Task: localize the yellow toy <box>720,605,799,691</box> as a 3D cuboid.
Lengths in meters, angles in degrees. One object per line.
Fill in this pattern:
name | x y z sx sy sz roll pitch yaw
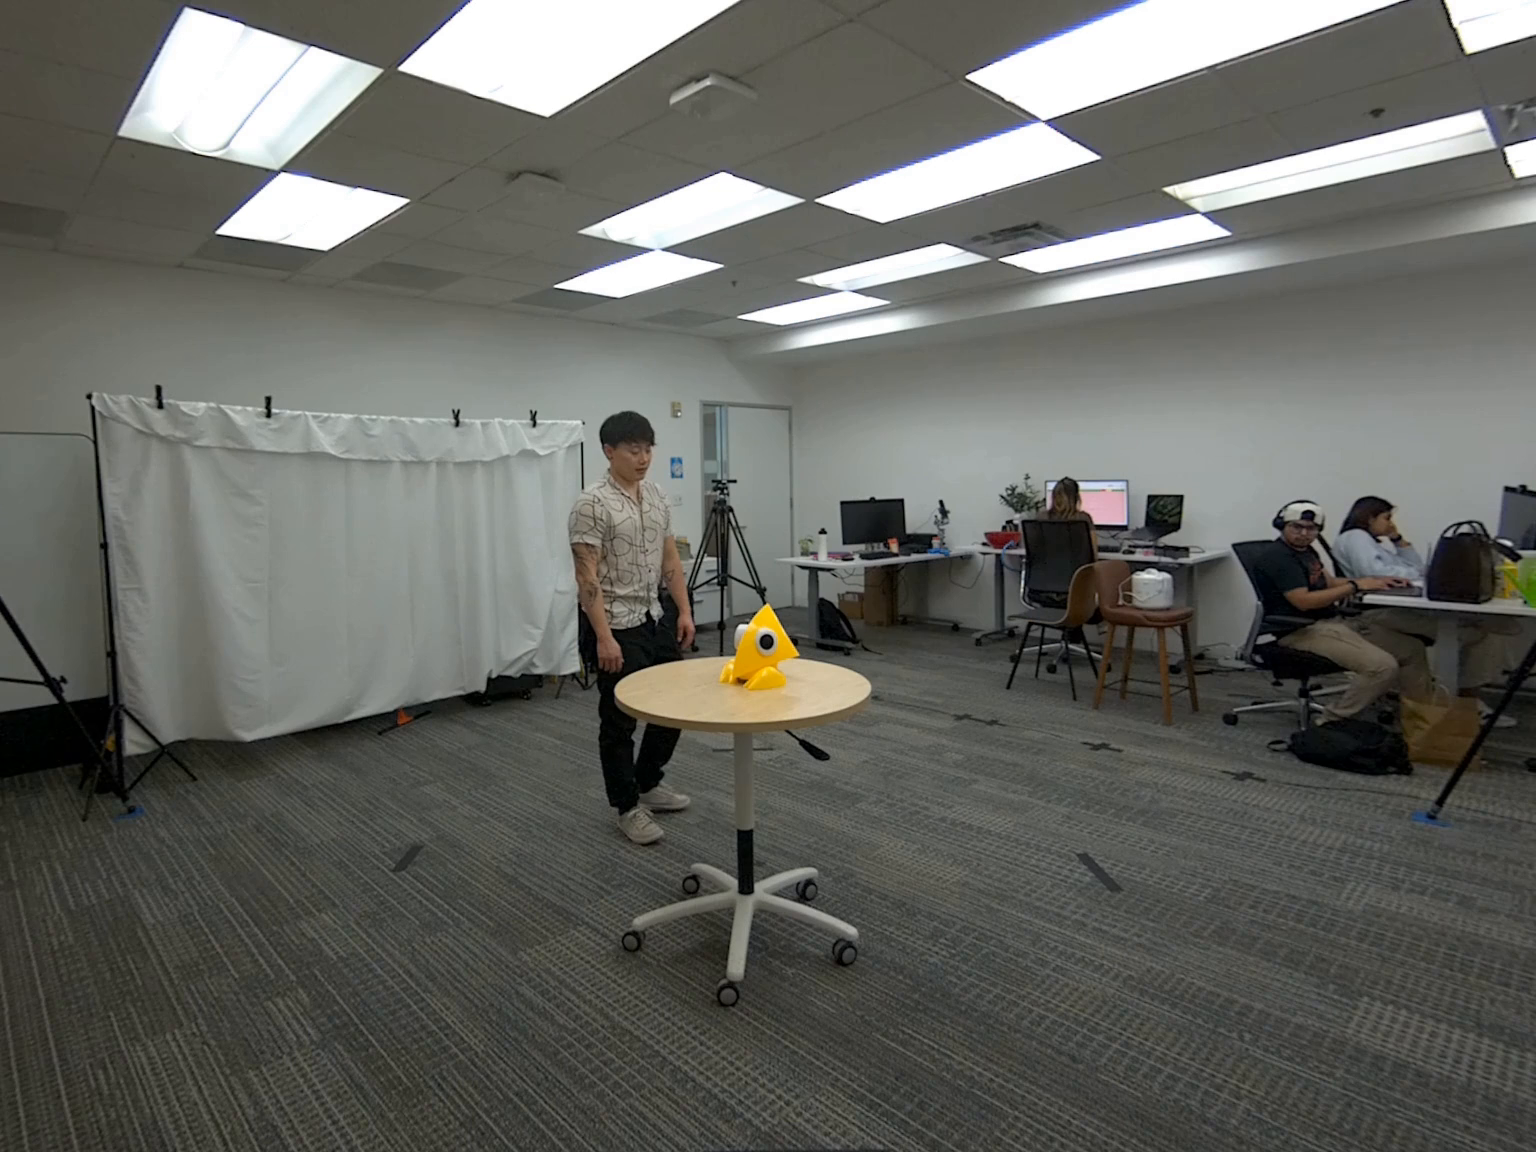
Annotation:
yellow toy | -0.037 0.209 2.601 0.188 0.229 0.211 -8 9 -44
